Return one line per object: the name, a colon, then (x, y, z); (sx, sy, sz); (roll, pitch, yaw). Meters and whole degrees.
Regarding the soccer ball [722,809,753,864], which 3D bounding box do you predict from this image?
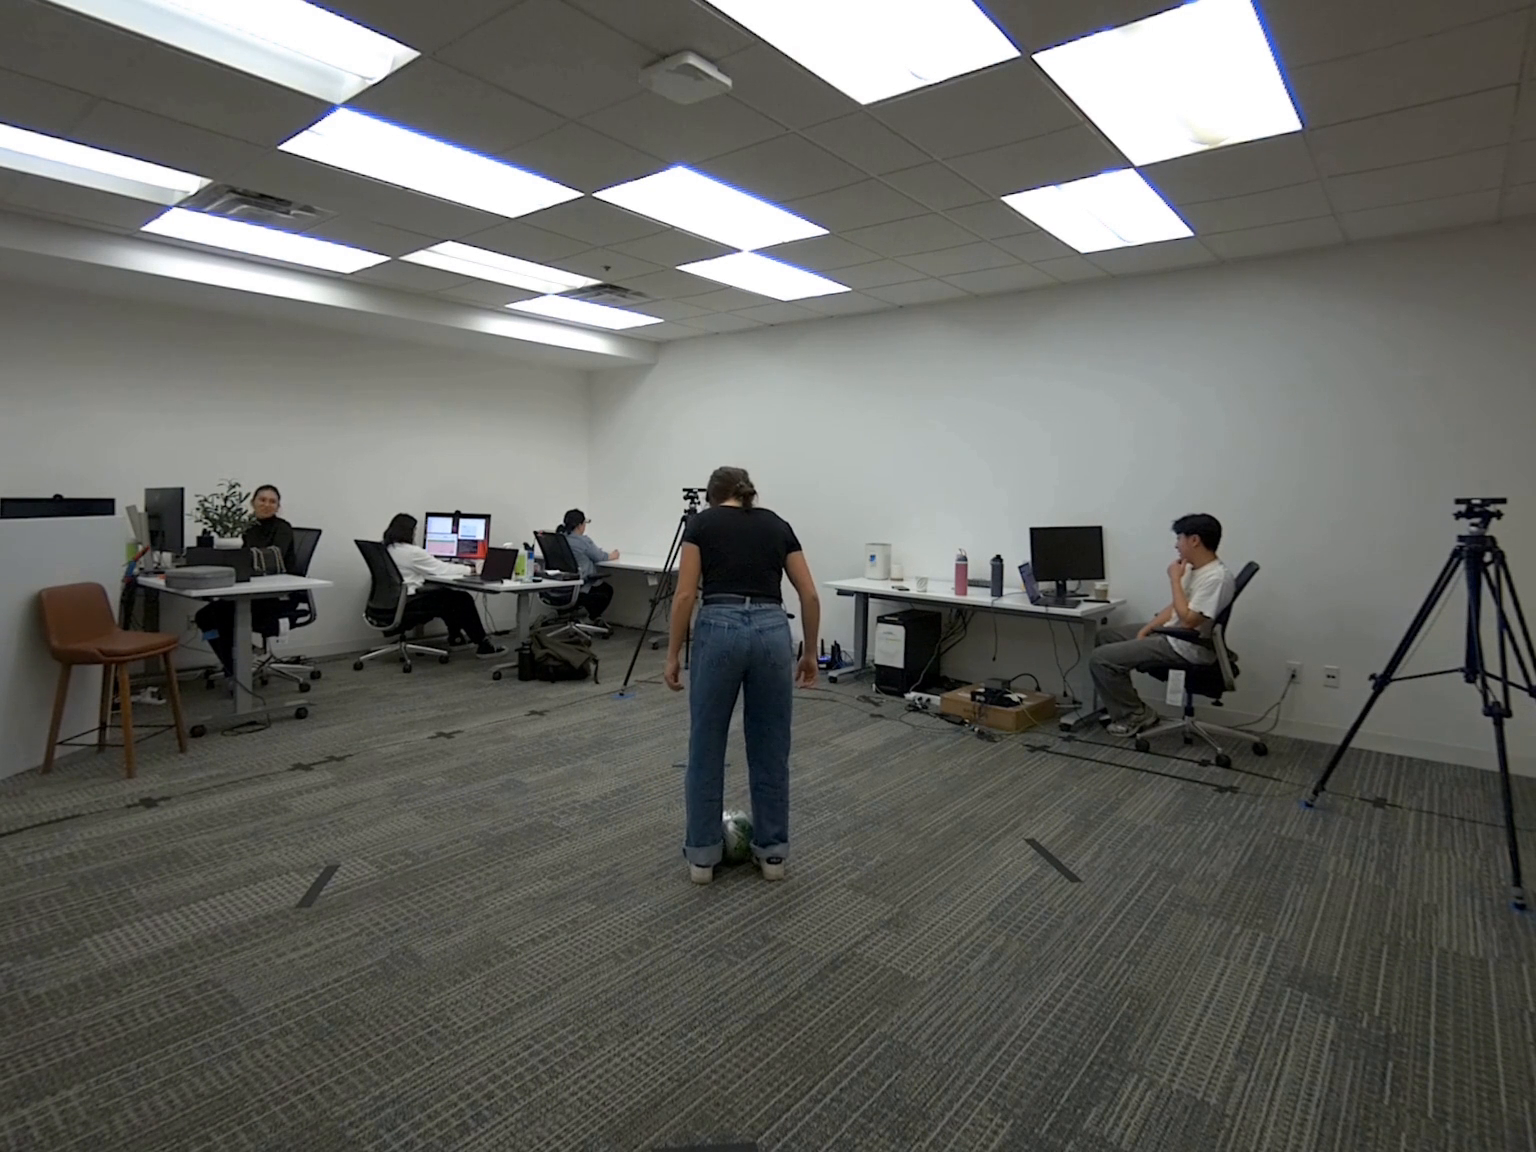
soccer ball: (-0.136, 0.971, 3.194); (0.187, 0.187, 0.188); (1, 4, -2)
